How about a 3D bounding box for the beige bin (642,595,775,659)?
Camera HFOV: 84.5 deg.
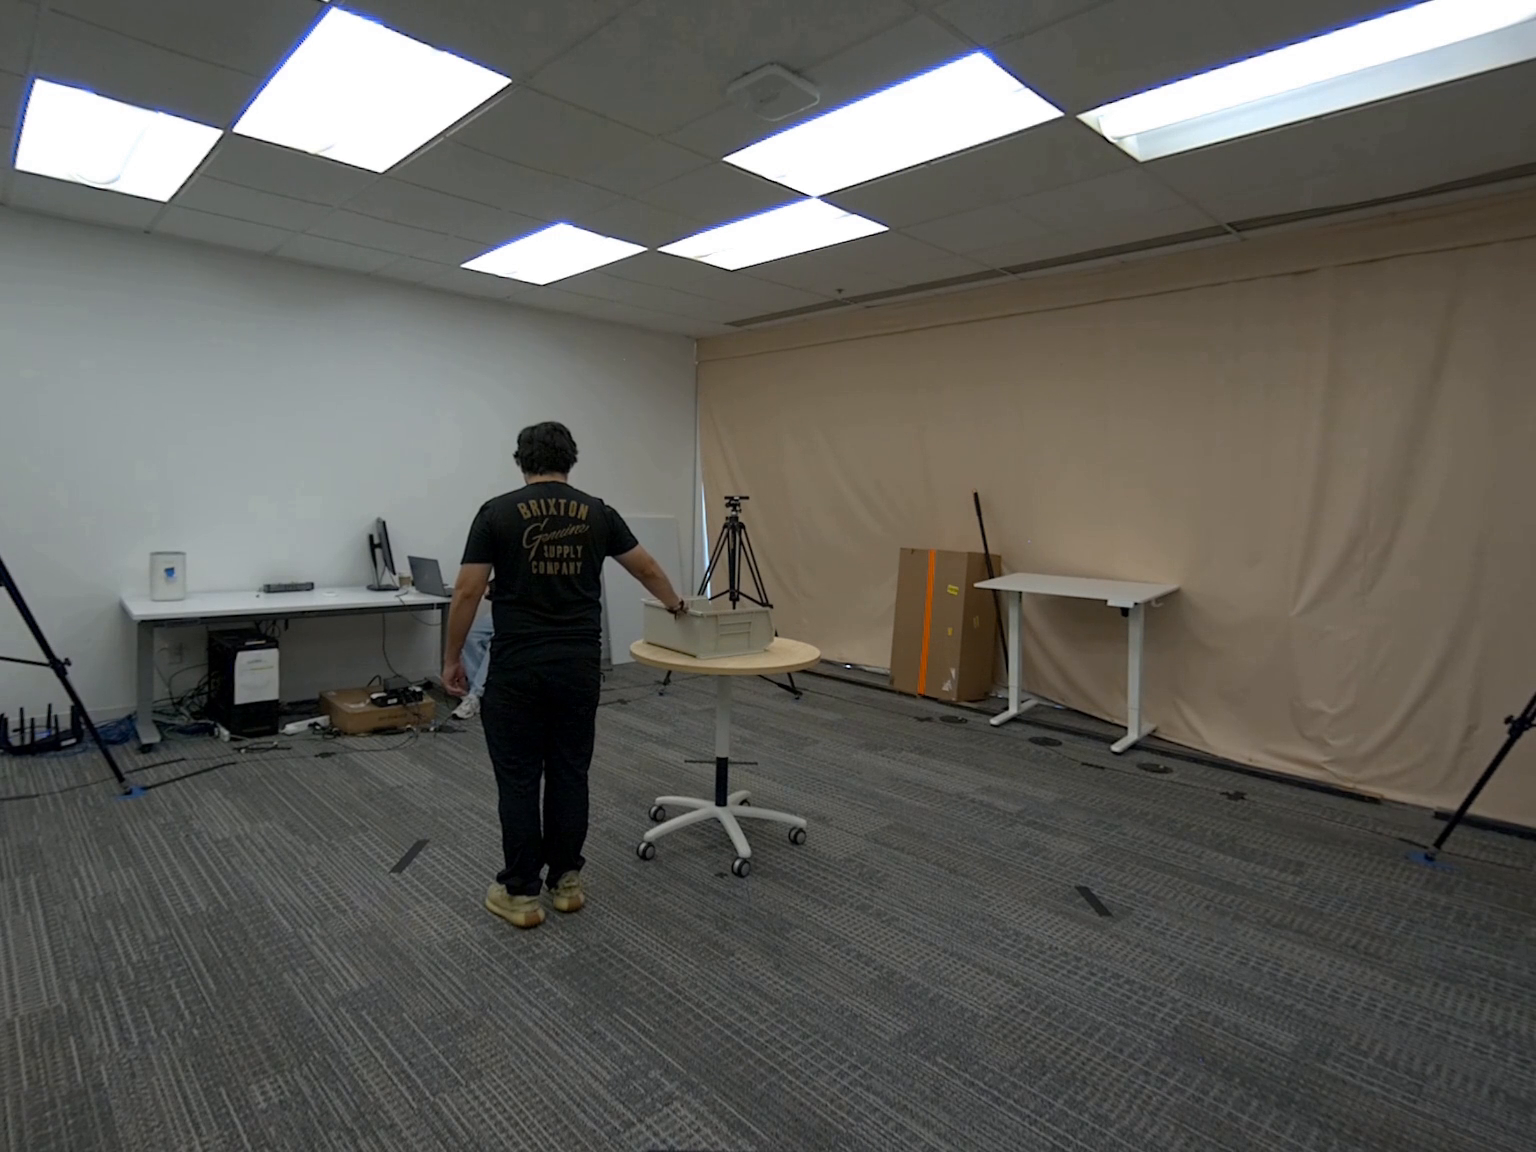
[{"bbox_3d":[-0.251,0.200,3.410,0.369,0.188,0.433,-4,8,-39],"label":"beige bin"}]
